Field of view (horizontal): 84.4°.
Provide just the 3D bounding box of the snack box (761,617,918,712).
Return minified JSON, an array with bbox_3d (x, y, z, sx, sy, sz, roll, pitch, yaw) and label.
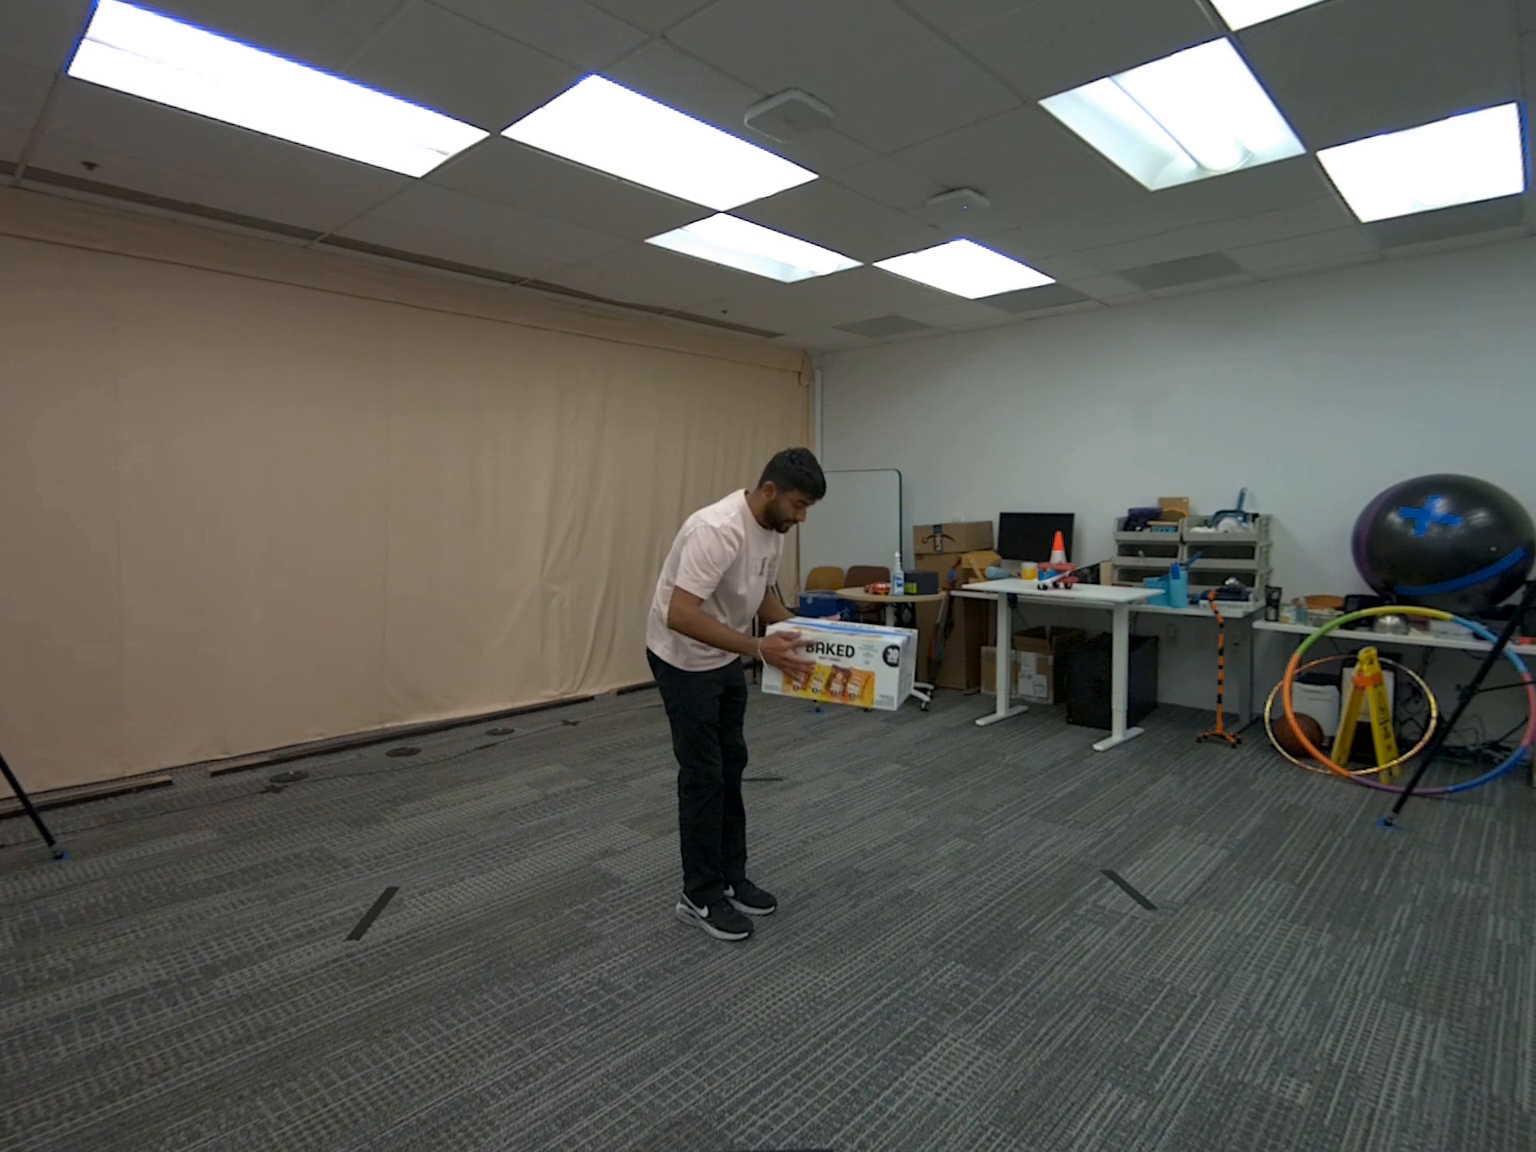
[{"bbox_3d":[0.233,0.275,2.625,0.414,0.205,0.333,5,4,20],"label":"snack box"}]
